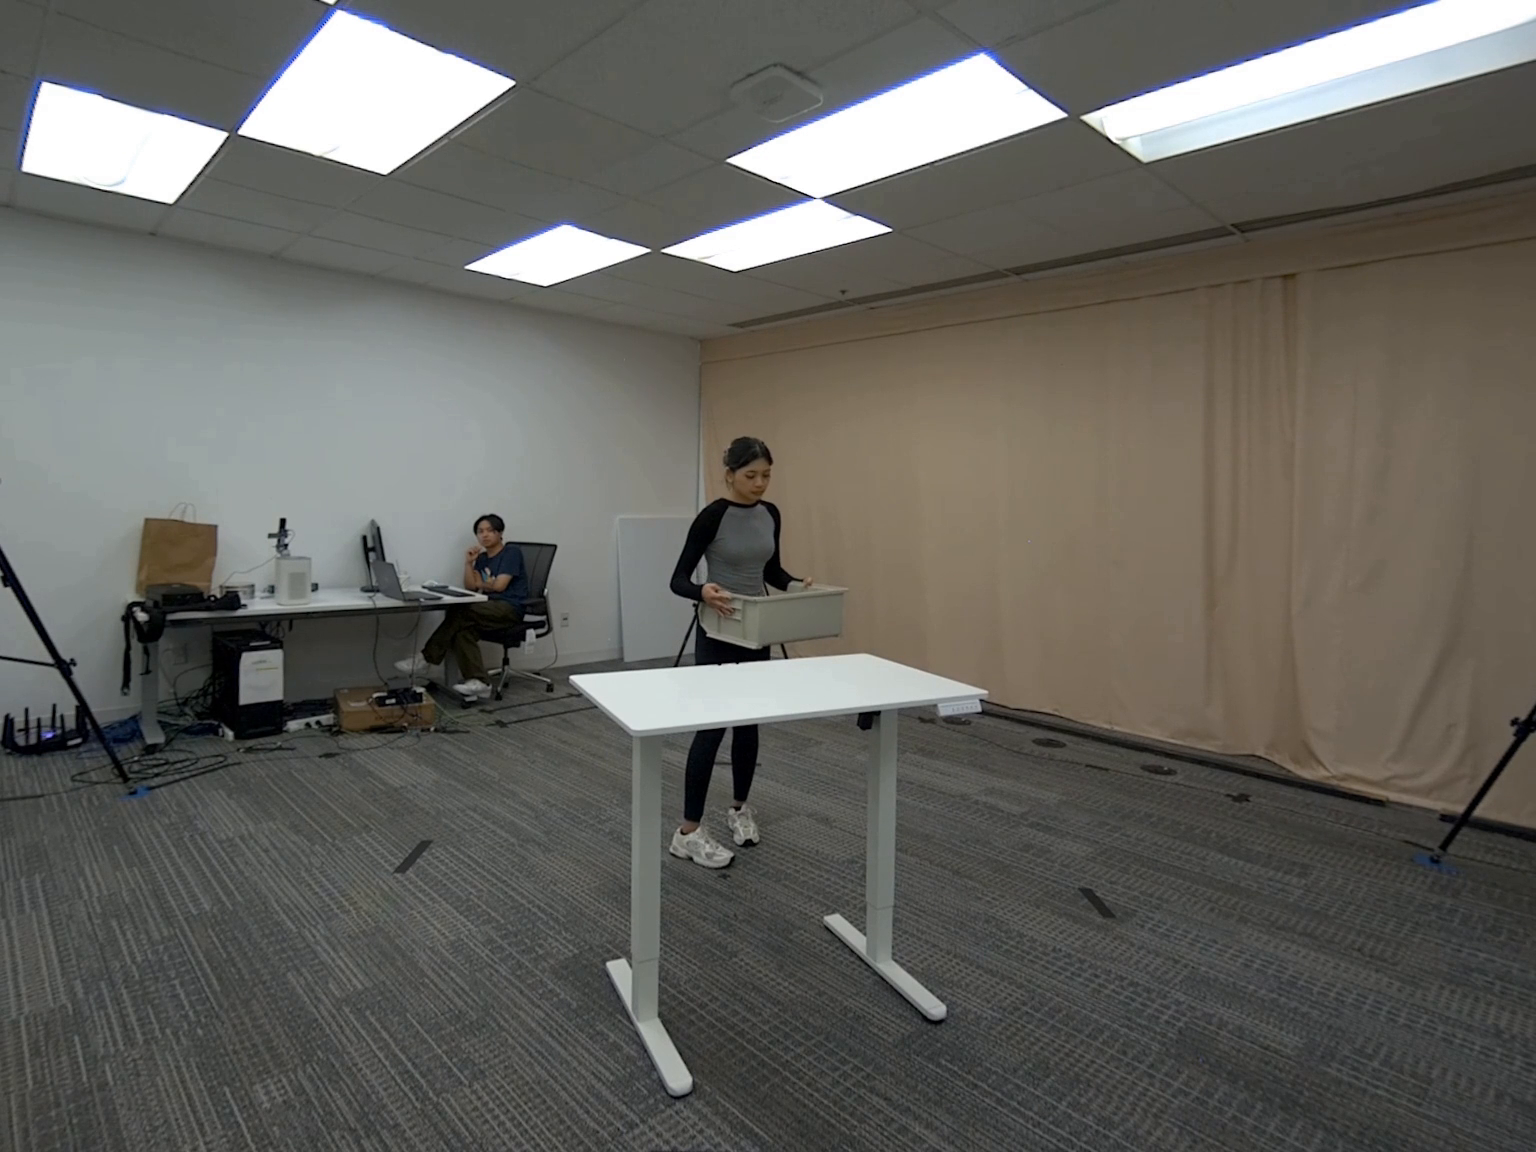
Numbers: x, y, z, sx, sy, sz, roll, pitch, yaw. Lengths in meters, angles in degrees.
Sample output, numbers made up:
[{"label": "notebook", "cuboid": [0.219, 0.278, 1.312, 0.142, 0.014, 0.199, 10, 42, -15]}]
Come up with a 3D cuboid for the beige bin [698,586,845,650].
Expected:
[{"label": "beige bin", "cuboid": [0.012, 0.135, 3.121, 0.413, 0.188, 0.387, -3, 7, -34]}]
